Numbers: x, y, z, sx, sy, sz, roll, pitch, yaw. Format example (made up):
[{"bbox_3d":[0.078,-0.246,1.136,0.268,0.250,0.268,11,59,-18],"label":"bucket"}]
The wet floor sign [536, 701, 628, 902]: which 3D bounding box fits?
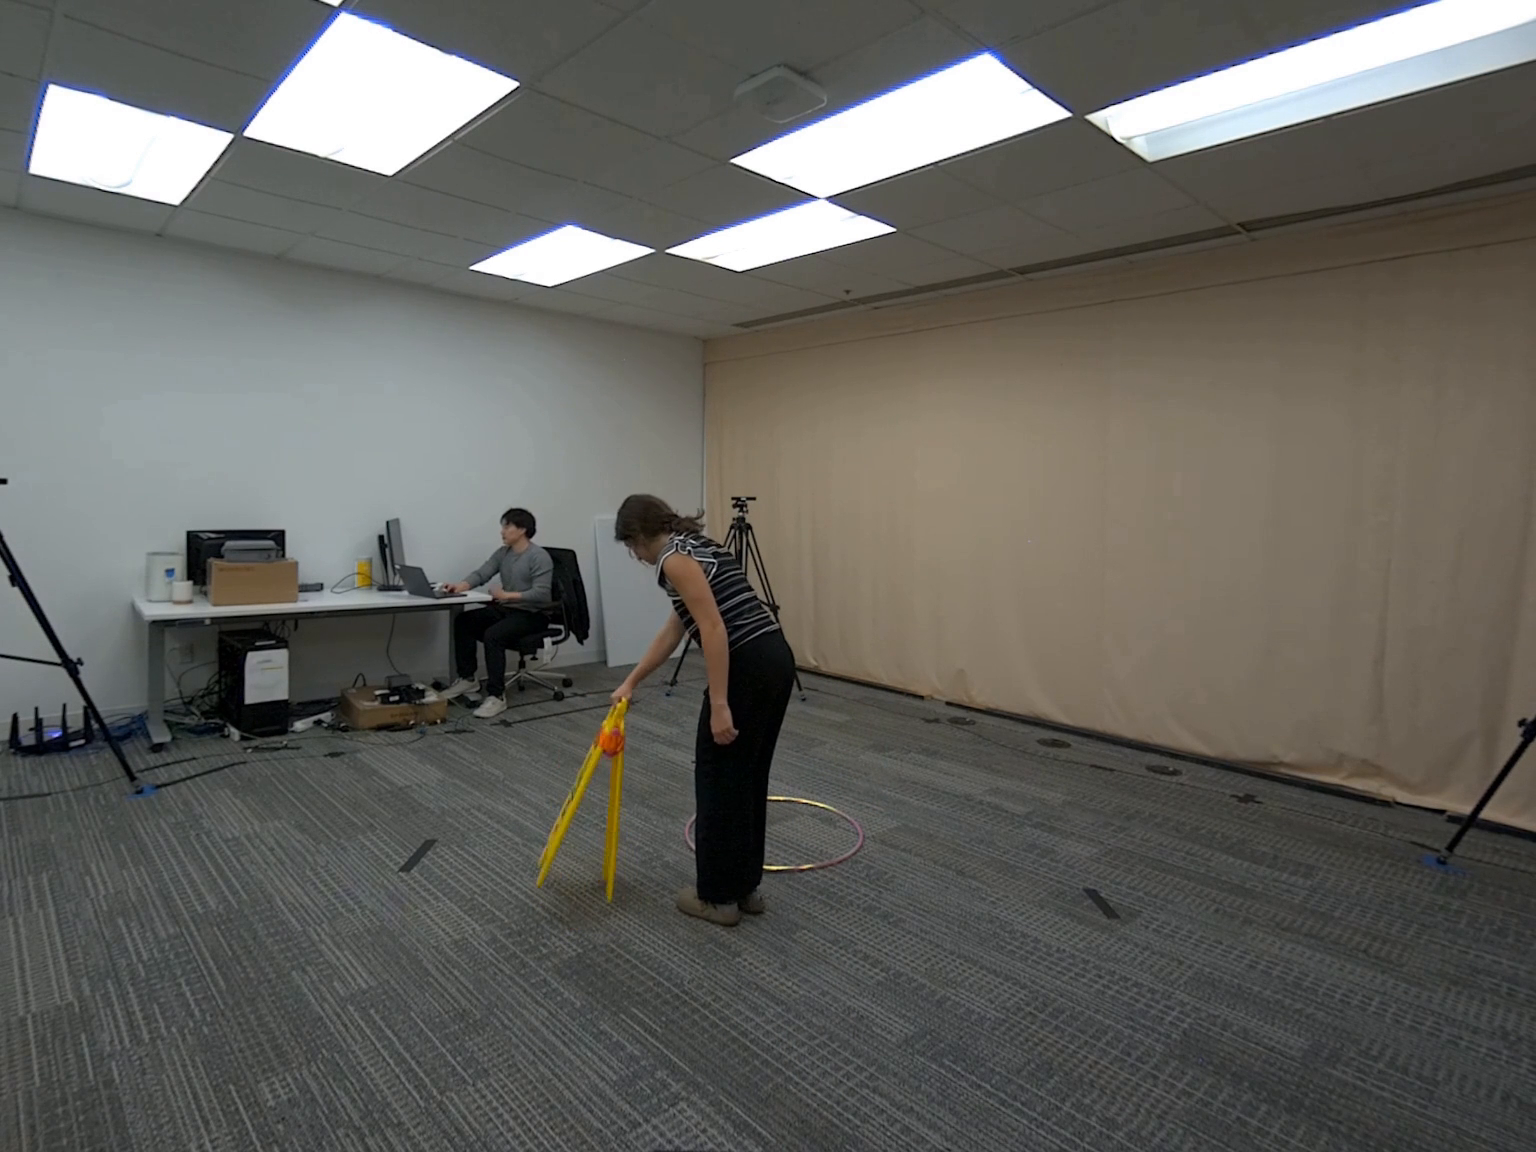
[{"bbox_3d":[-0.583,0.740,2.950,0.287,0.648,0.284,15,-5,-10],"label":"wet floor sign"}]
